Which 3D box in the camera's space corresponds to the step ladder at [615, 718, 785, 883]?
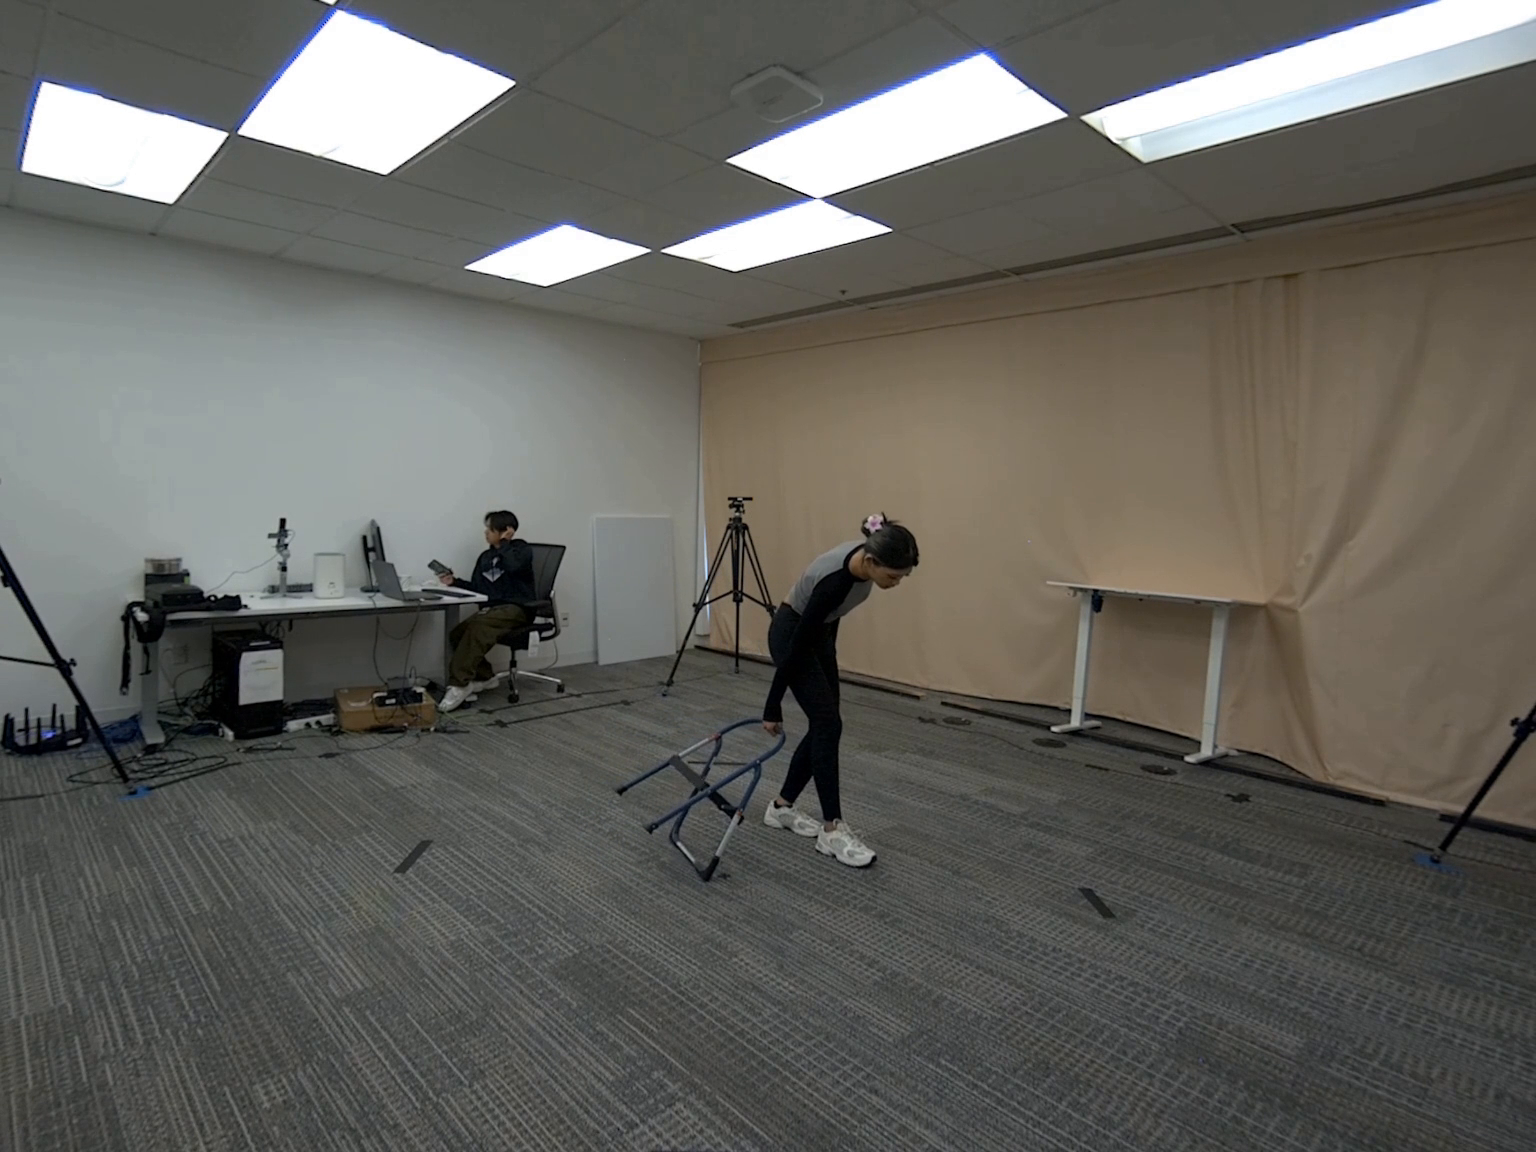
[{"bbox_3d":[-0.226,0.761,3.248,0.342,0.606,0.440,47,-14,-21],"label":"step ladder"}]
